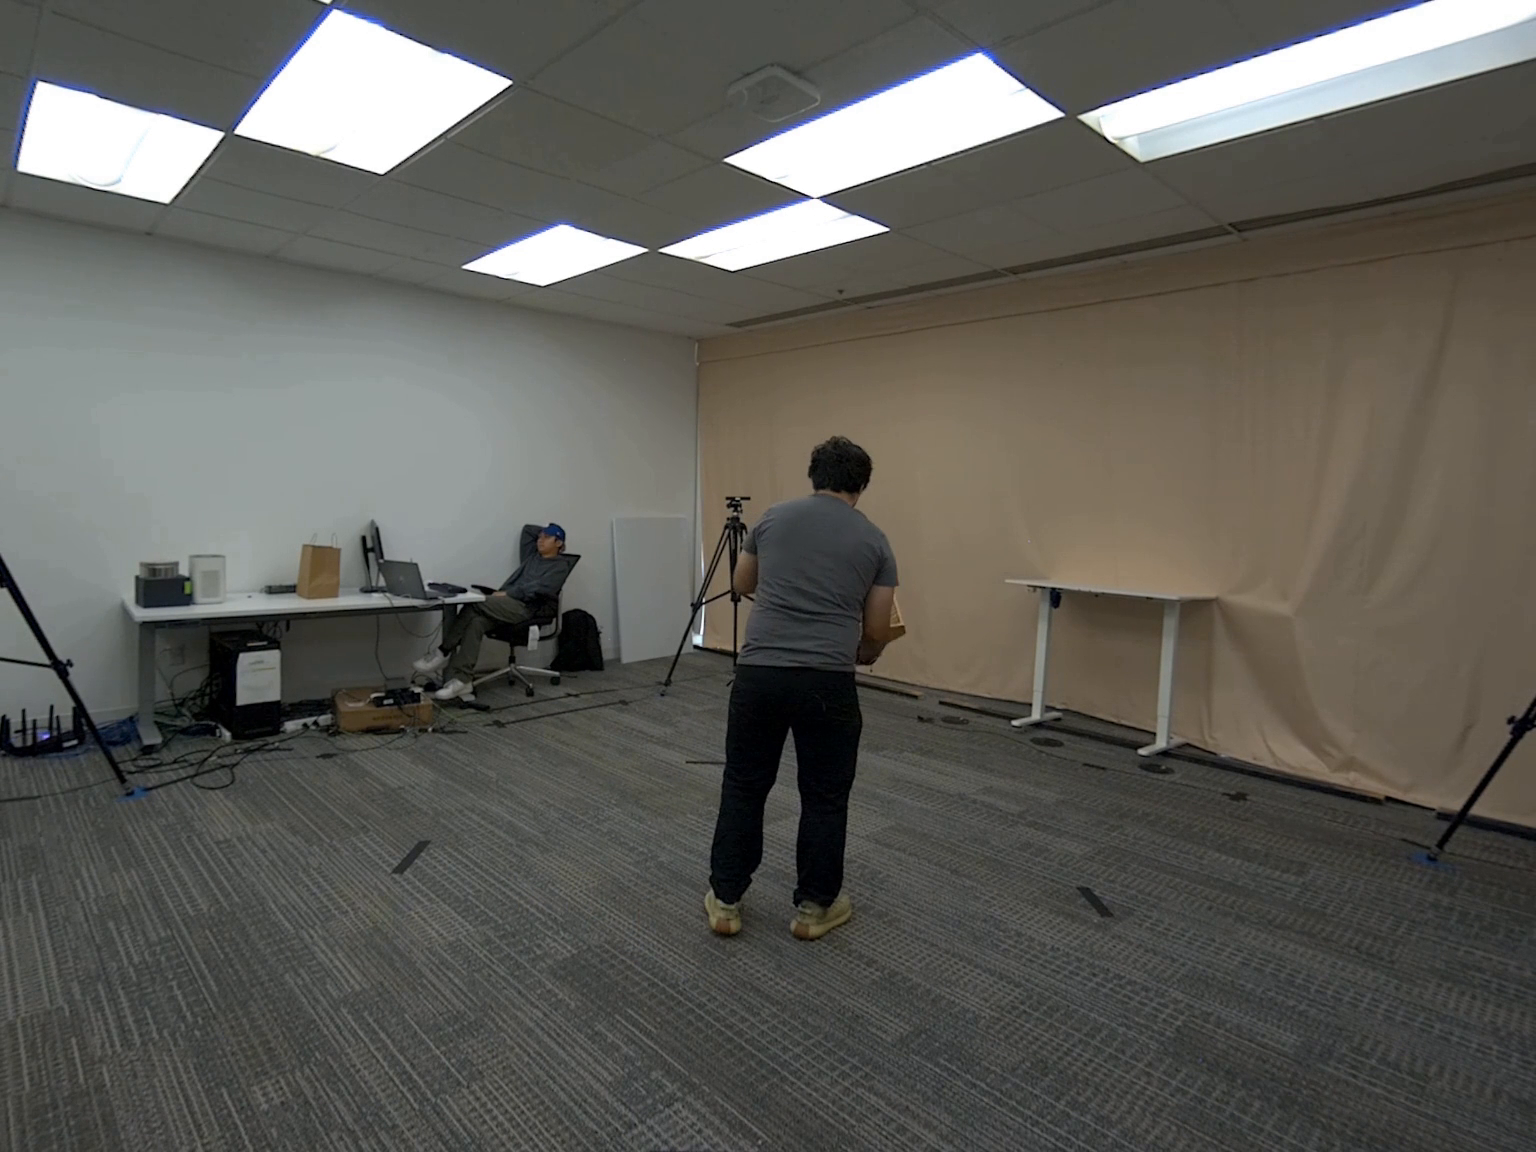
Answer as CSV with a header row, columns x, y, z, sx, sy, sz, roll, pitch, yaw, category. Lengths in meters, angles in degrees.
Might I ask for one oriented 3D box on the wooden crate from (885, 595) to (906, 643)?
x,y,z,sx,sy,sz,roll,pitch,yaw,category
0.276,0.099,3.021,0.303,0.333,0.265,-33,-50,23,wooden crate
